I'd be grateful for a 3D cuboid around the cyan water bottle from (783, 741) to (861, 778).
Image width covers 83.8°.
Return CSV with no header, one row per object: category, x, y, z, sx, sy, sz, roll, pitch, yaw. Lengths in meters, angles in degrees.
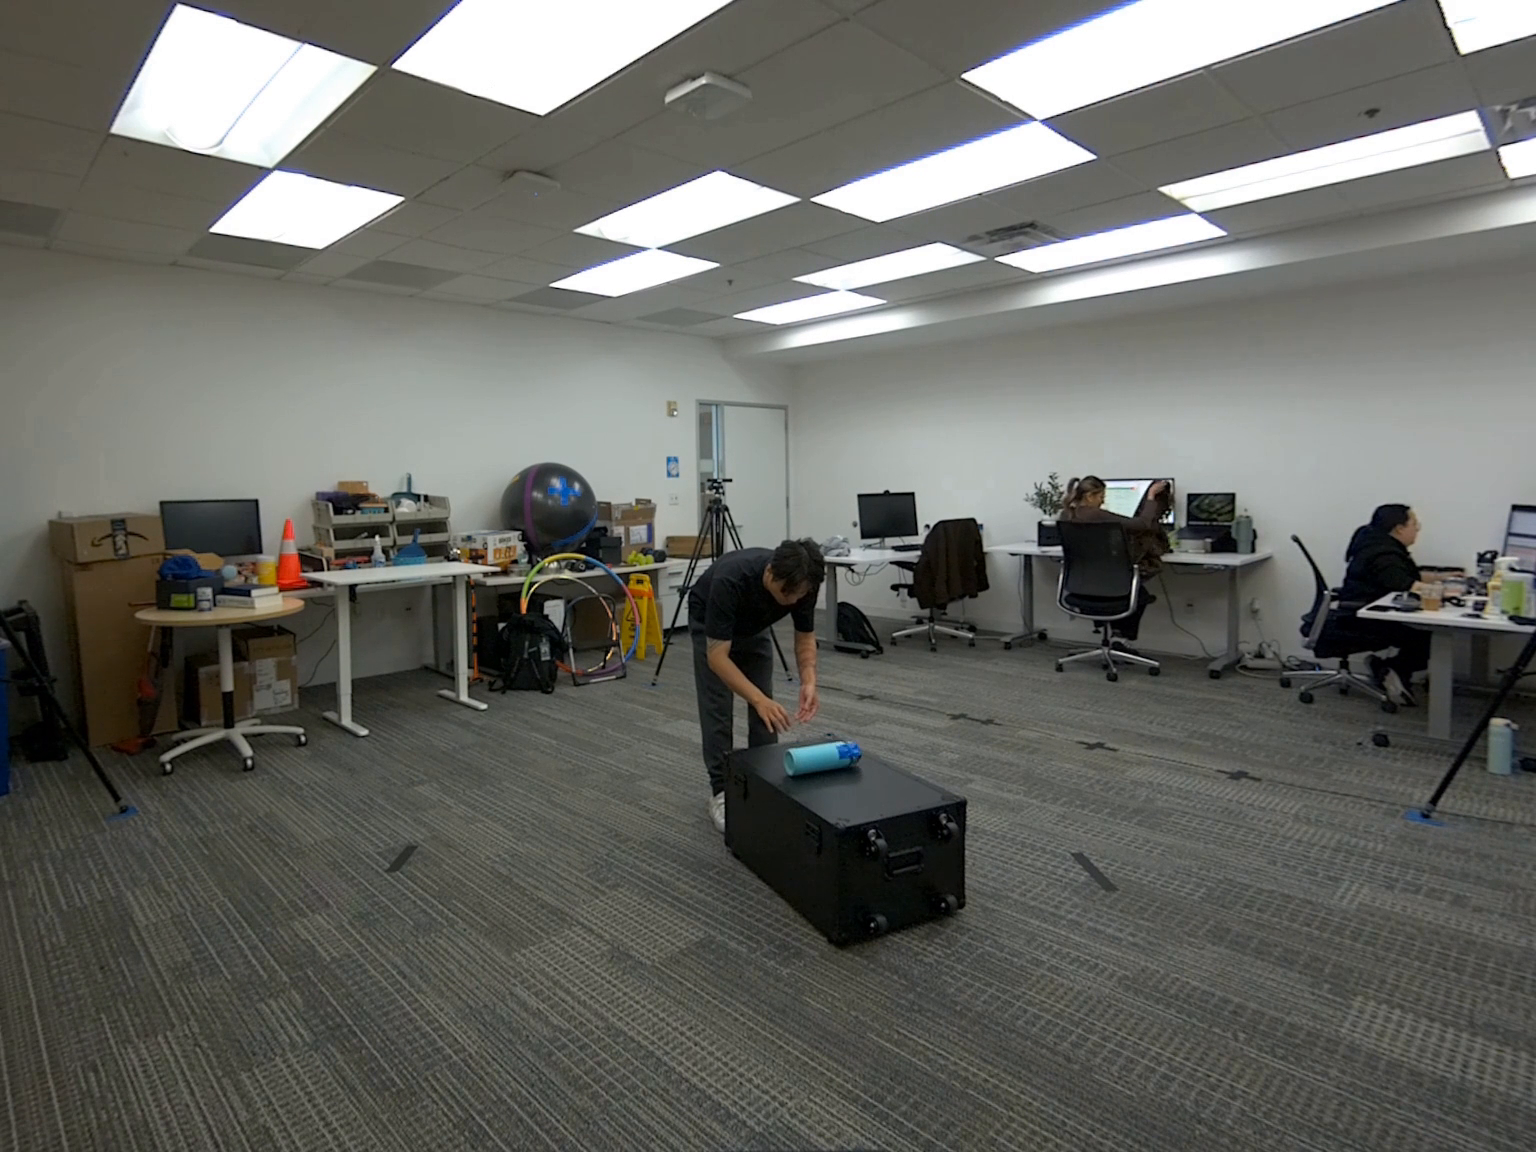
cyan water bottle,0.199,0.630,2.998,0.277,0.092,0.094,-2,5,-25
